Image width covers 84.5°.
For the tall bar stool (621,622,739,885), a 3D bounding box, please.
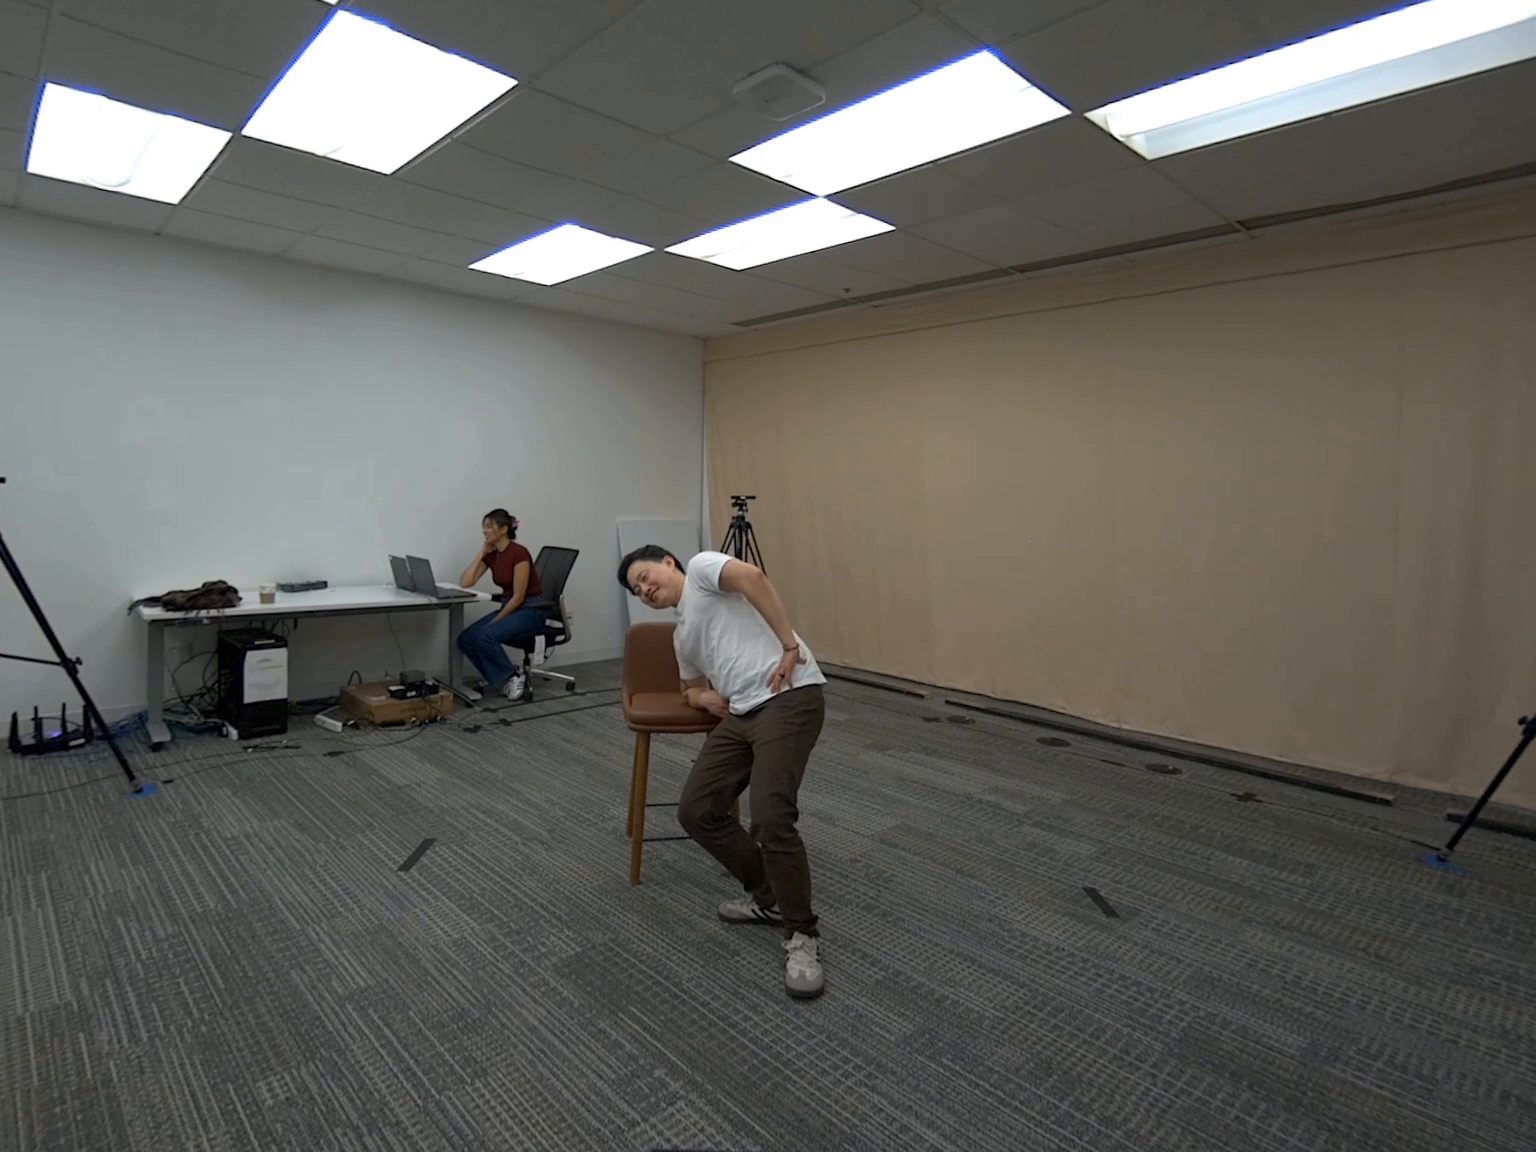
[{"bbox_3d":[-0.343,0.651,3.244,0.452,0.888,0.473,1,2,-13],"label":"tall bar stool"}]
